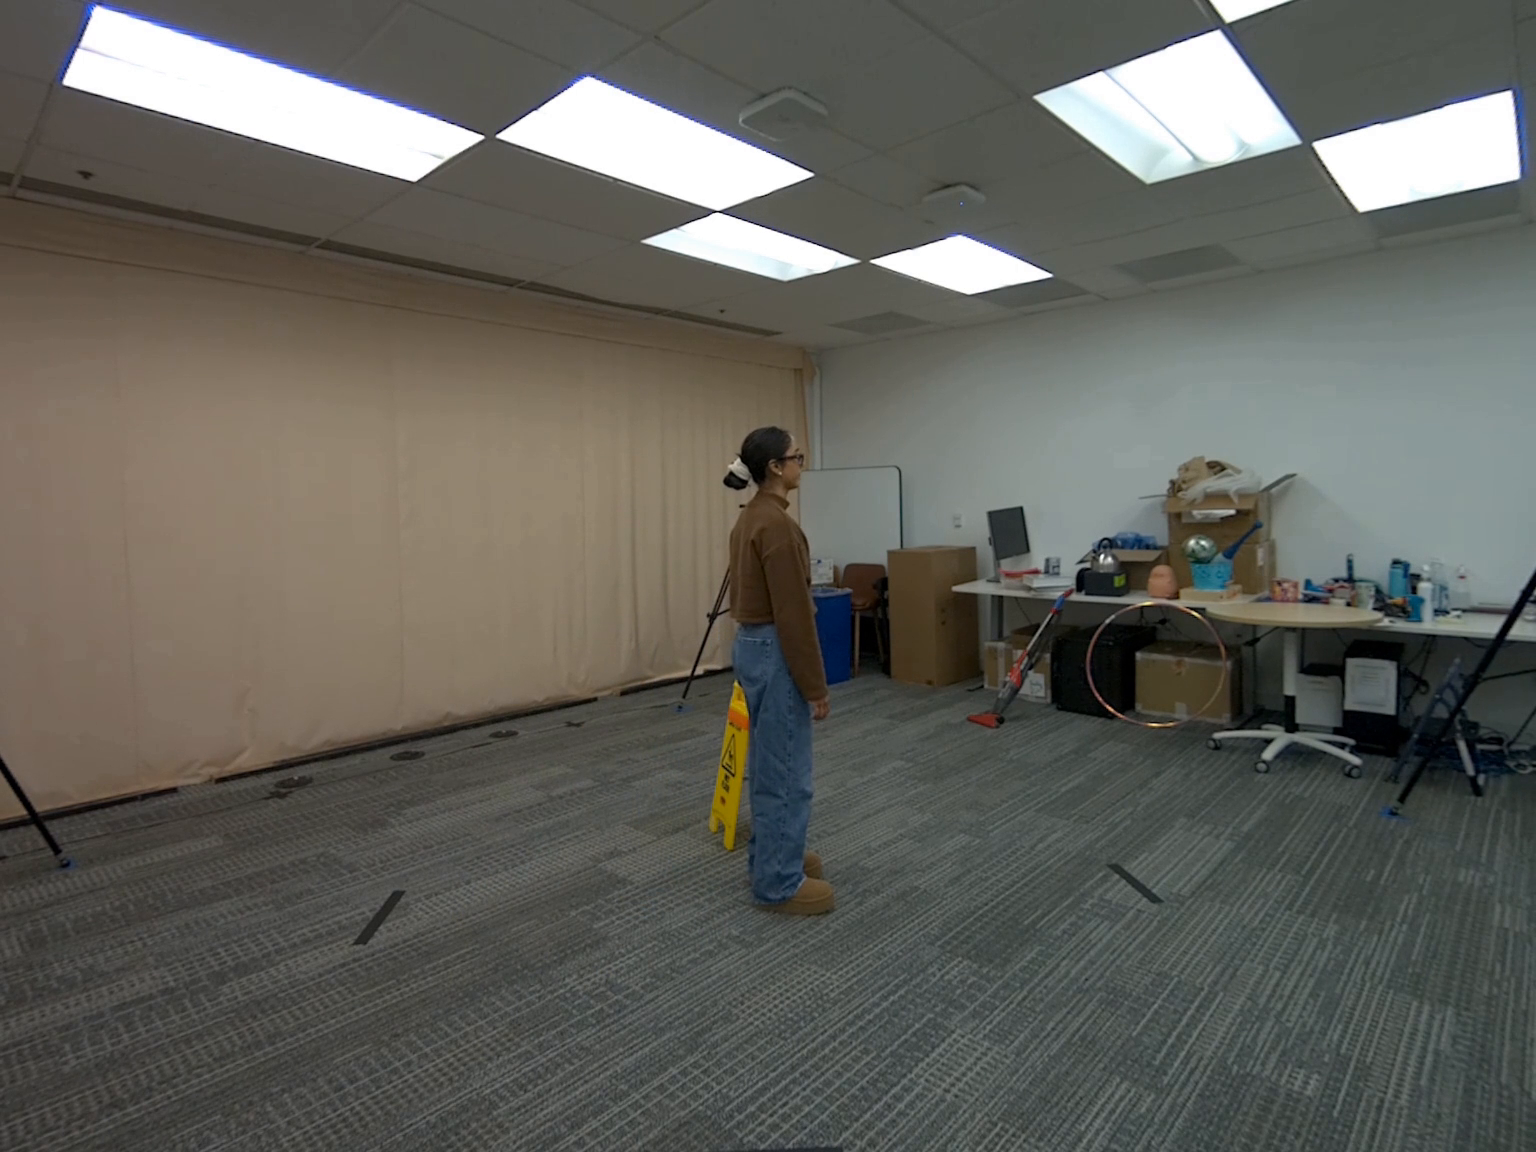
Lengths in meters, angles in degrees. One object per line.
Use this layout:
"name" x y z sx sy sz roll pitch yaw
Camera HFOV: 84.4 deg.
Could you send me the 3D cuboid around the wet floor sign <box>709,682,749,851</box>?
"wet floor sign" -0.089 0.767 3.539 0.284 0.645 0.288 -3 3 -20
